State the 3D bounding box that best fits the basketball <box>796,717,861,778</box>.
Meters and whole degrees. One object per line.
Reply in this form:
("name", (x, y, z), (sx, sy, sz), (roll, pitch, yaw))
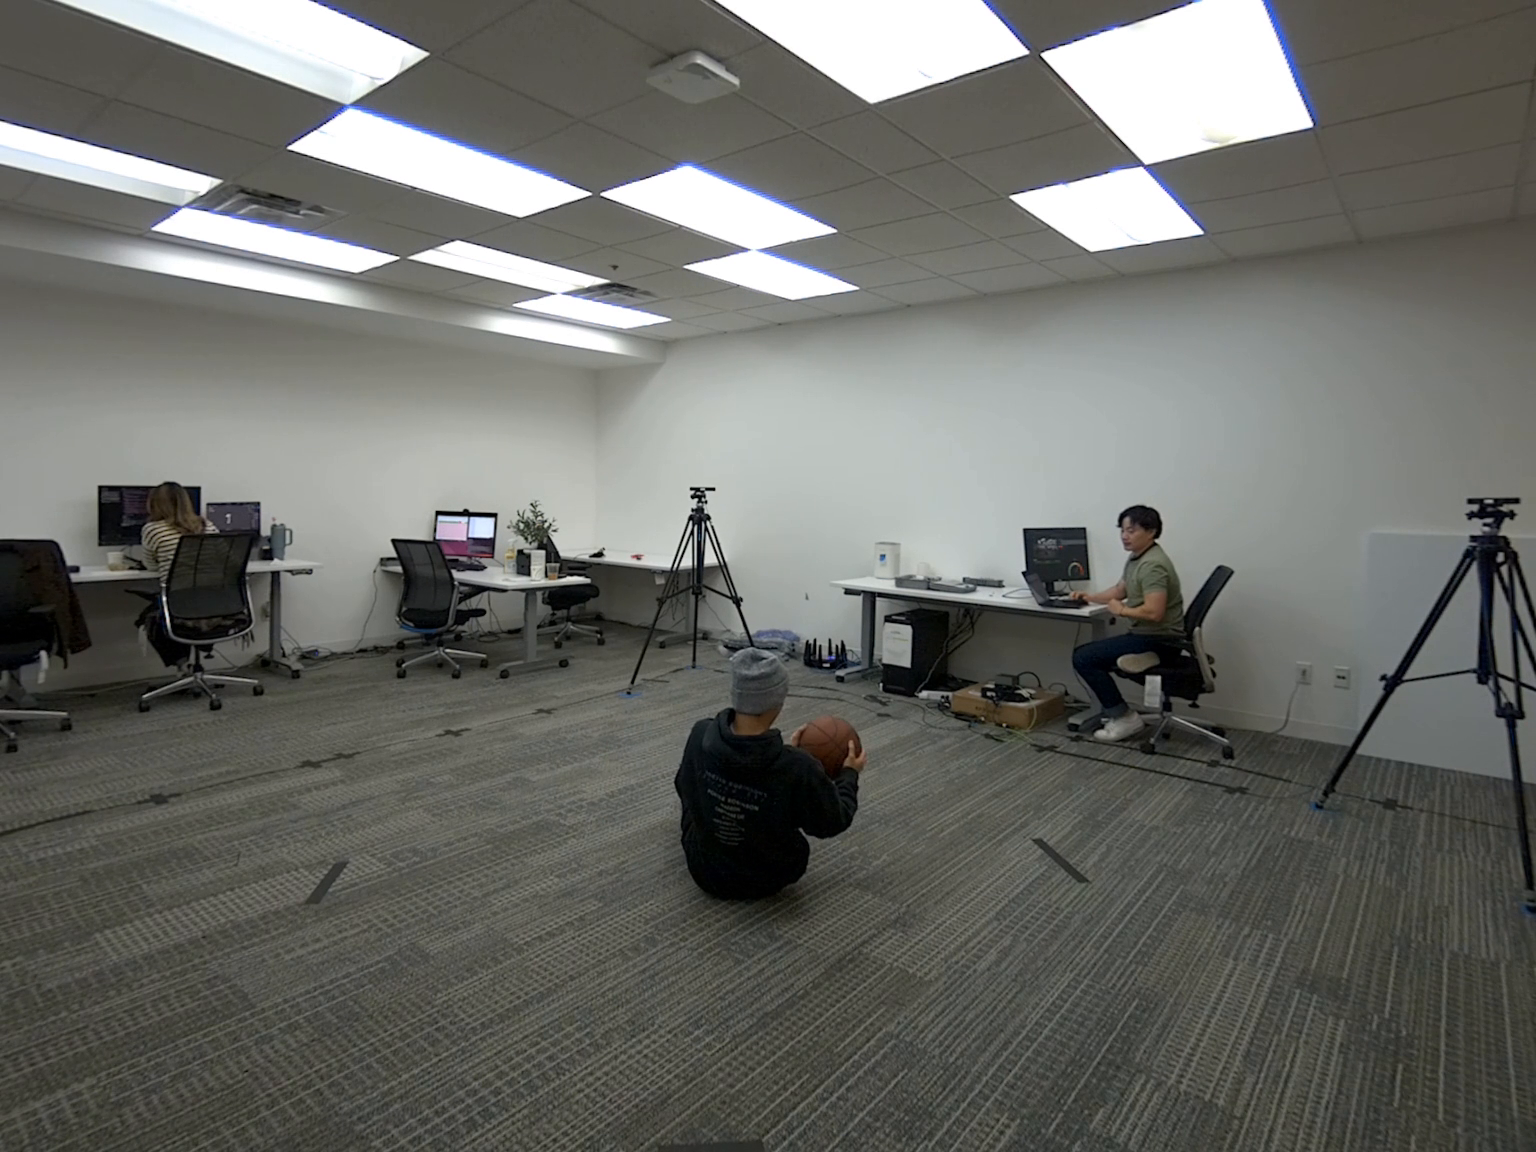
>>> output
("basketball", (0.211, 0.640, 3.165), (0.235, 0.235, 0.237), (1, 4, -2))
